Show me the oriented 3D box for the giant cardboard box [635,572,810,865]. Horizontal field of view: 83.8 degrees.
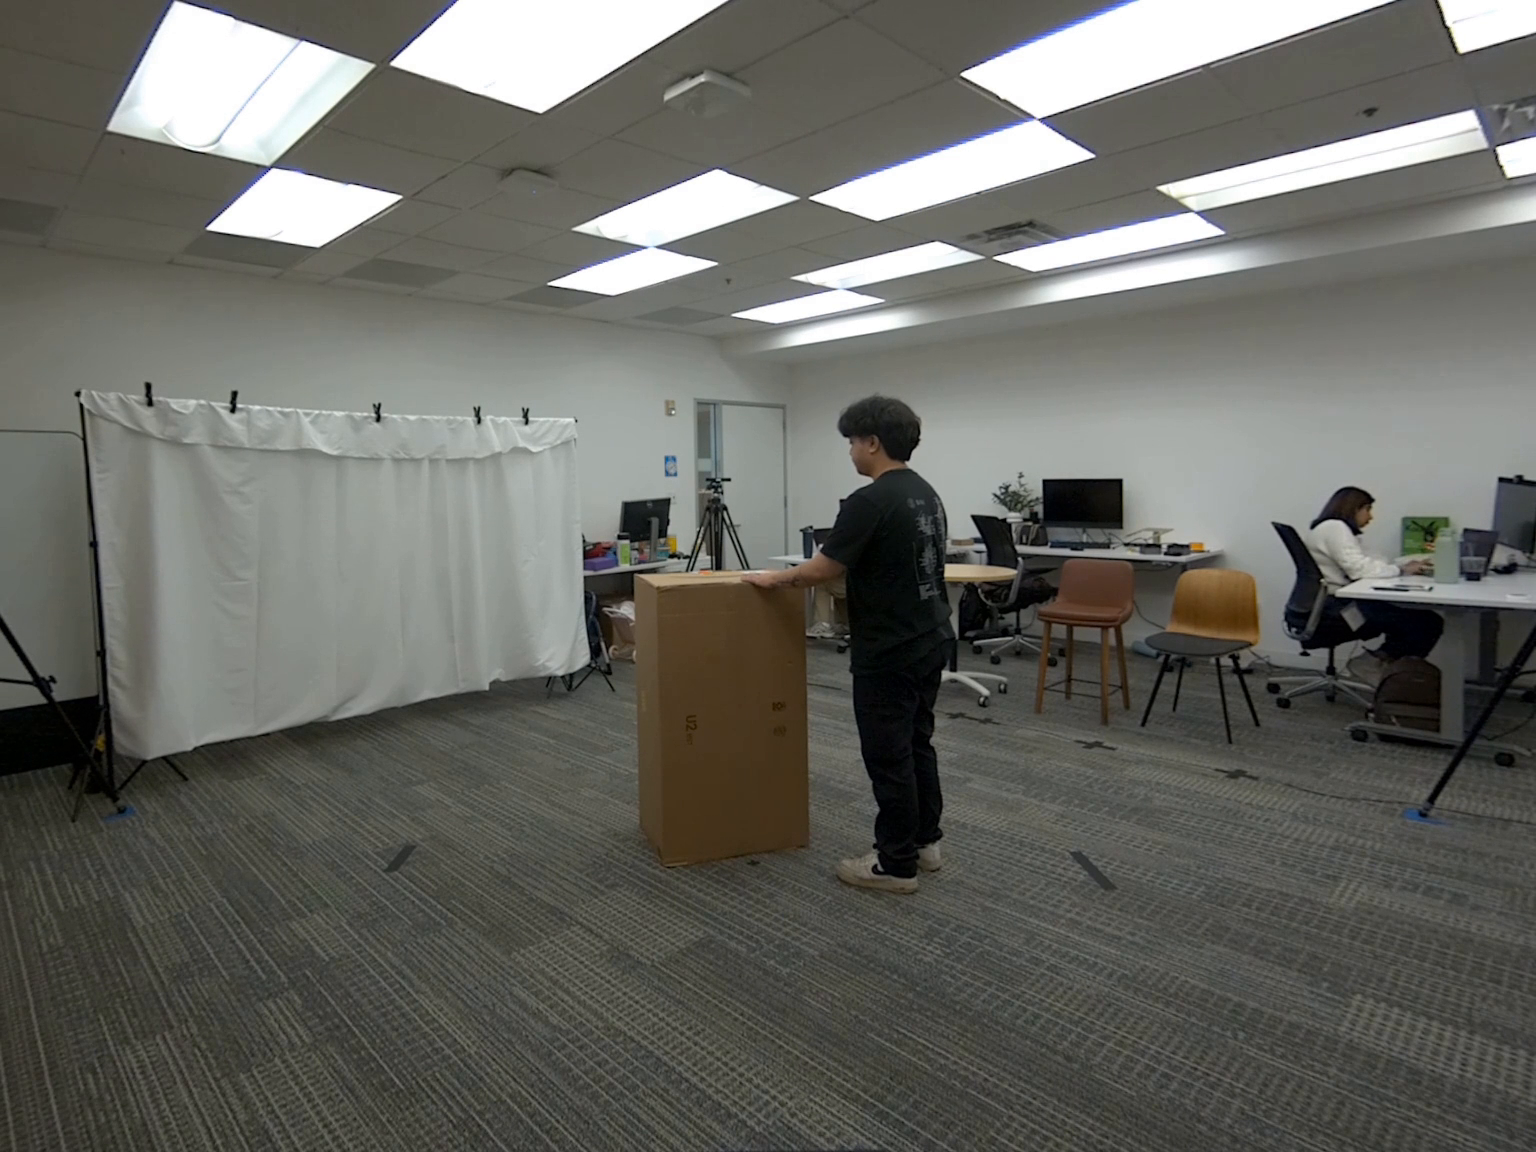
[{"bbox_3d":[-0.189,0.506,3.332,0.575,1.024,0.455,-2,4,-18],"label":"giant cardboard box"}]
